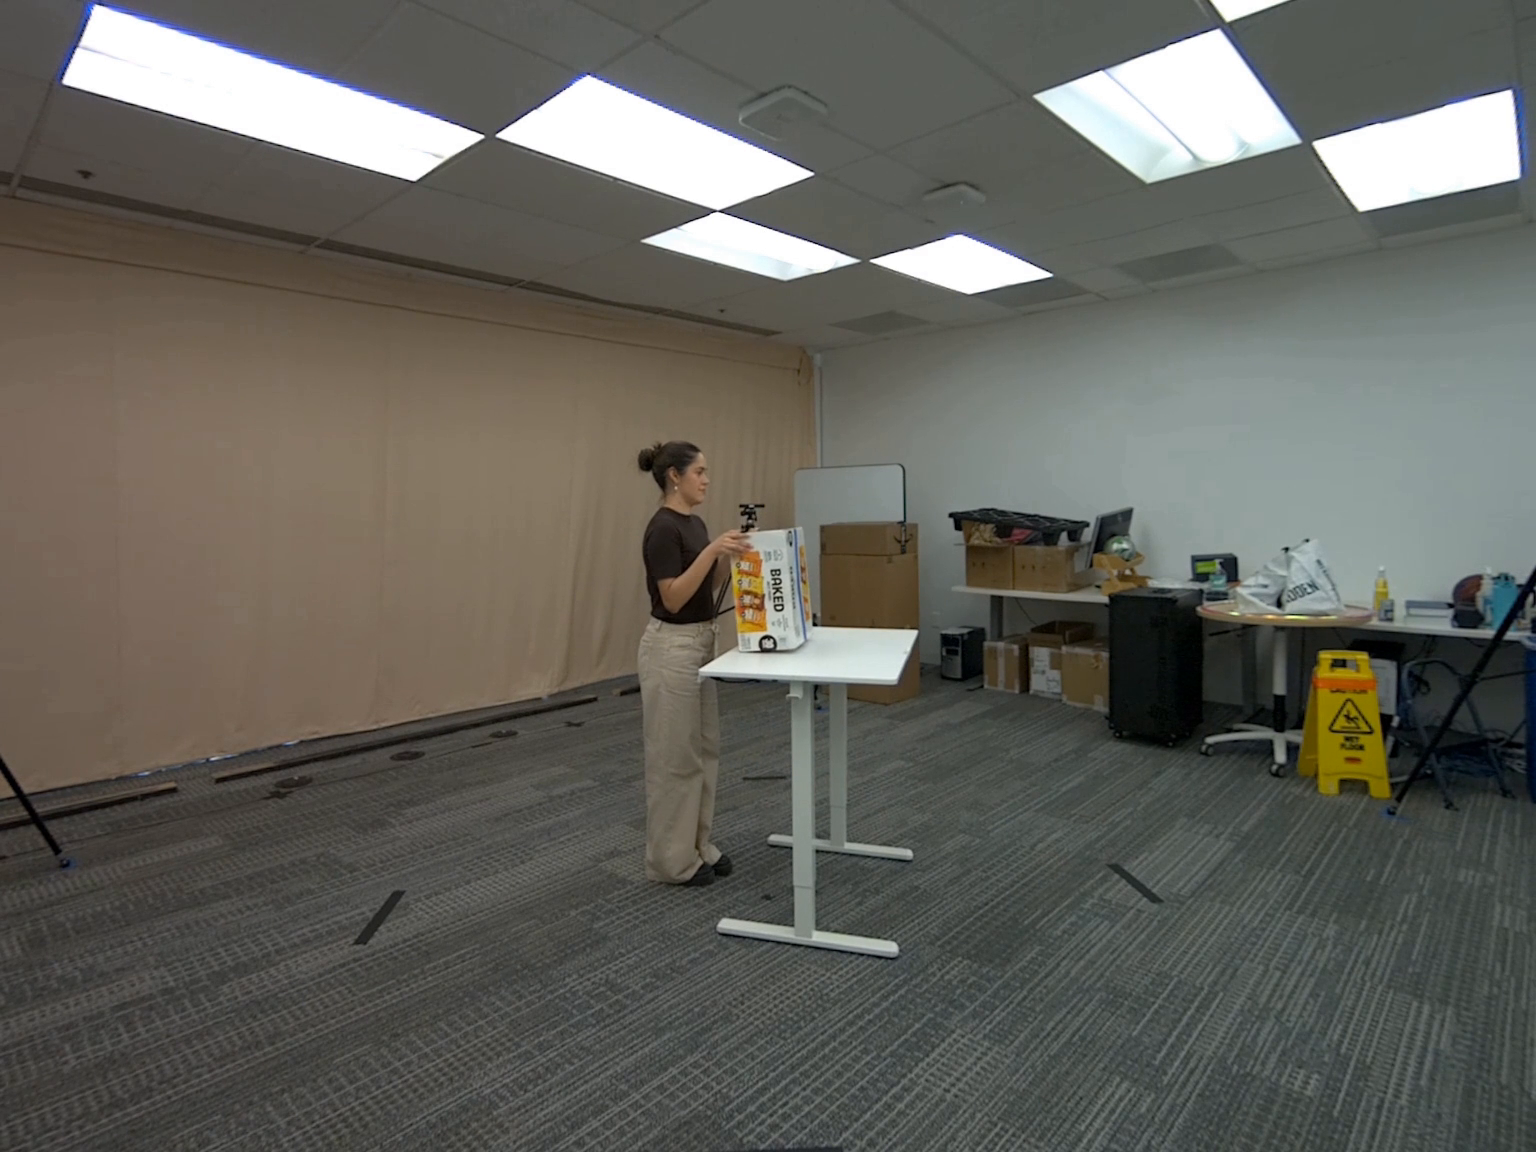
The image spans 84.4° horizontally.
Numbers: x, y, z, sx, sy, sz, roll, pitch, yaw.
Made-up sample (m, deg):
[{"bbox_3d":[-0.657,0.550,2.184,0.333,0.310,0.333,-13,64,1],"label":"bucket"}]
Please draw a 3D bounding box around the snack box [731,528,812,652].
[{"bbox_3d":[0.018,0.042,3.021,0.209,0.404,0.335,-4,2,14],"label":"snack box"}]
